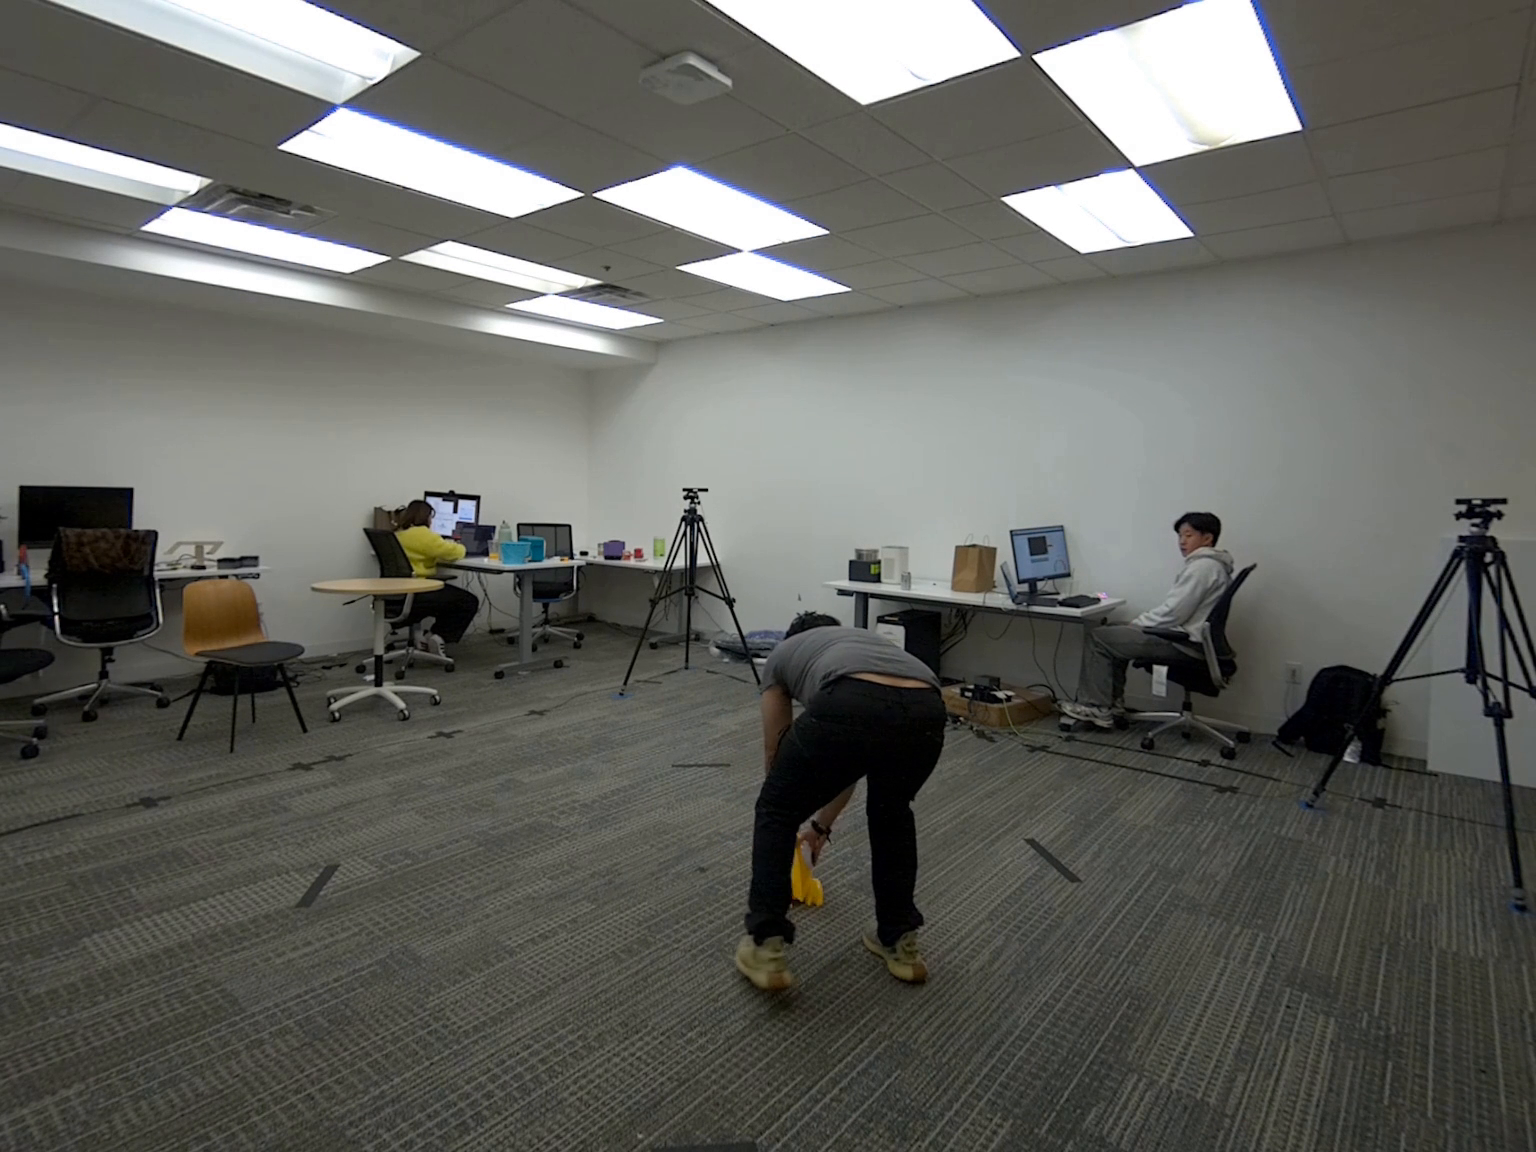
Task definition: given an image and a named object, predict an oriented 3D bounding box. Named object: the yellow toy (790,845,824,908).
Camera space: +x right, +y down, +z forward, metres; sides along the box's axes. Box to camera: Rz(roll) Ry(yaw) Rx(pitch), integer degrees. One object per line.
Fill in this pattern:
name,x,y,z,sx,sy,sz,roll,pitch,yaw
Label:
yellow toy,0.079,0.982,2.917,0.202,0.230,0.196,-1,4,-15
